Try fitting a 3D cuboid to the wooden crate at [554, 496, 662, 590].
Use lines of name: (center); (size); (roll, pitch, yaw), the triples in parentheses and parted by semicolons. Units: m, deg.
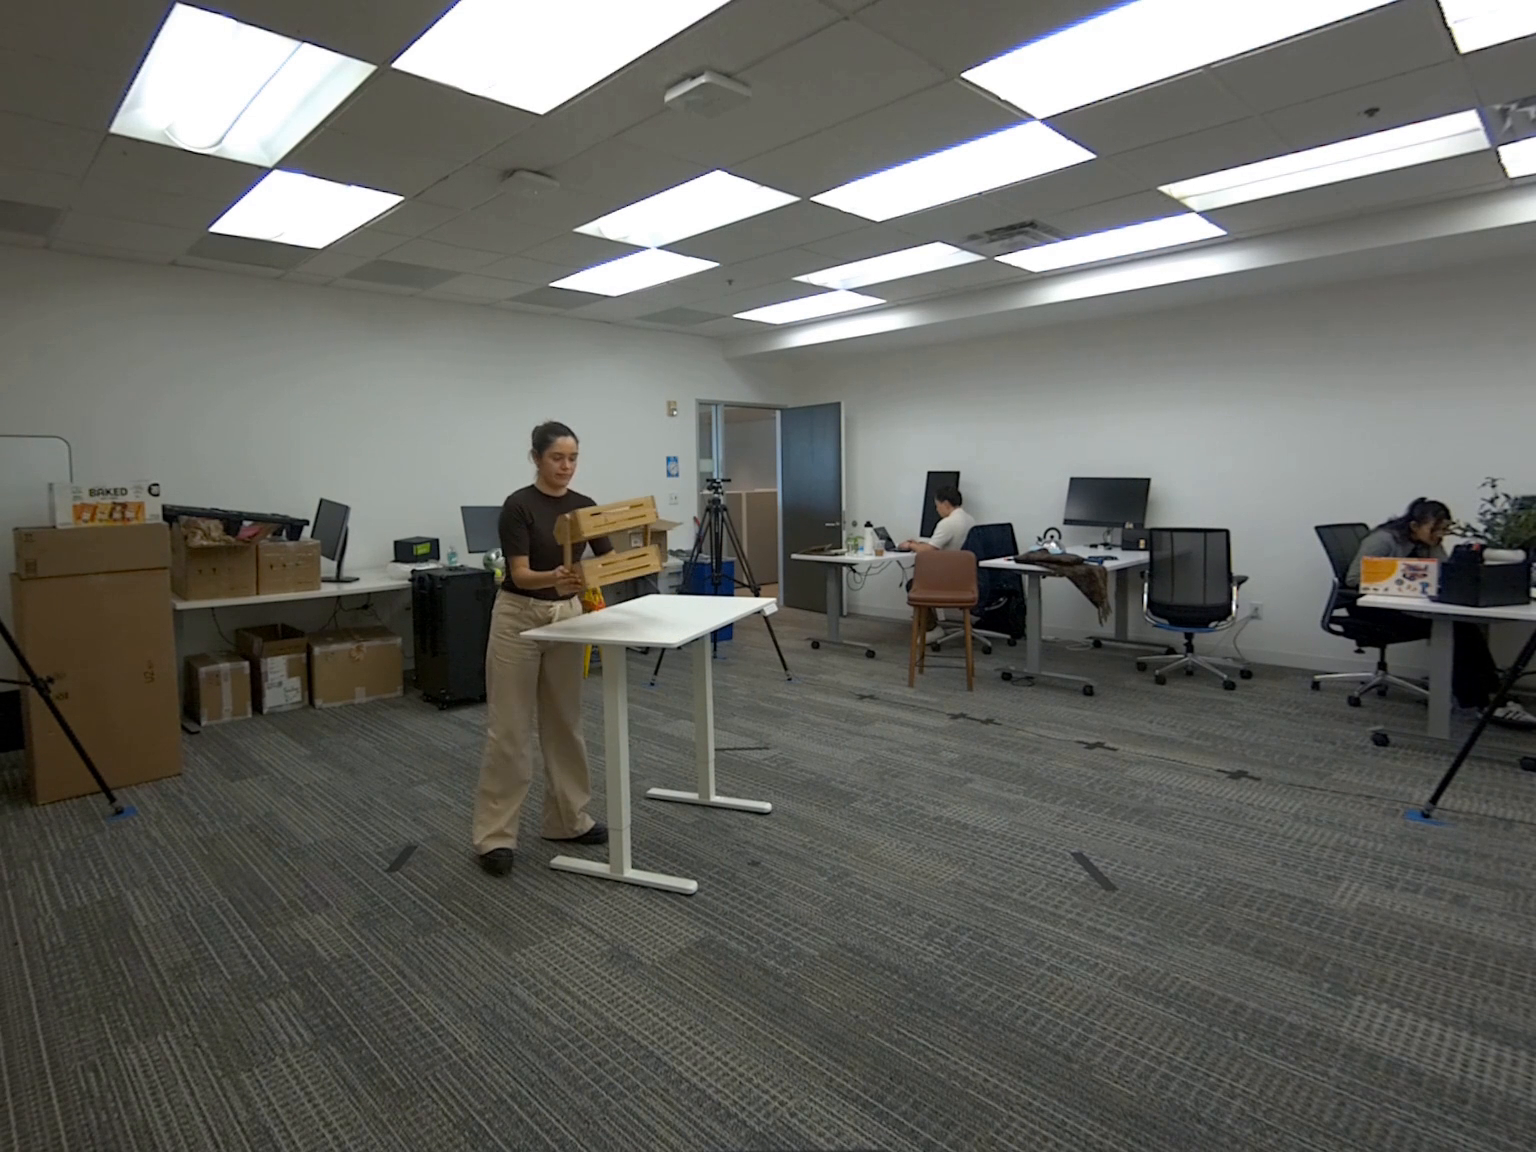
wooden crate: (-0.571, -0.105, 2.975); (0.318, 0.273, 0.308); (-15, 2, -35)
